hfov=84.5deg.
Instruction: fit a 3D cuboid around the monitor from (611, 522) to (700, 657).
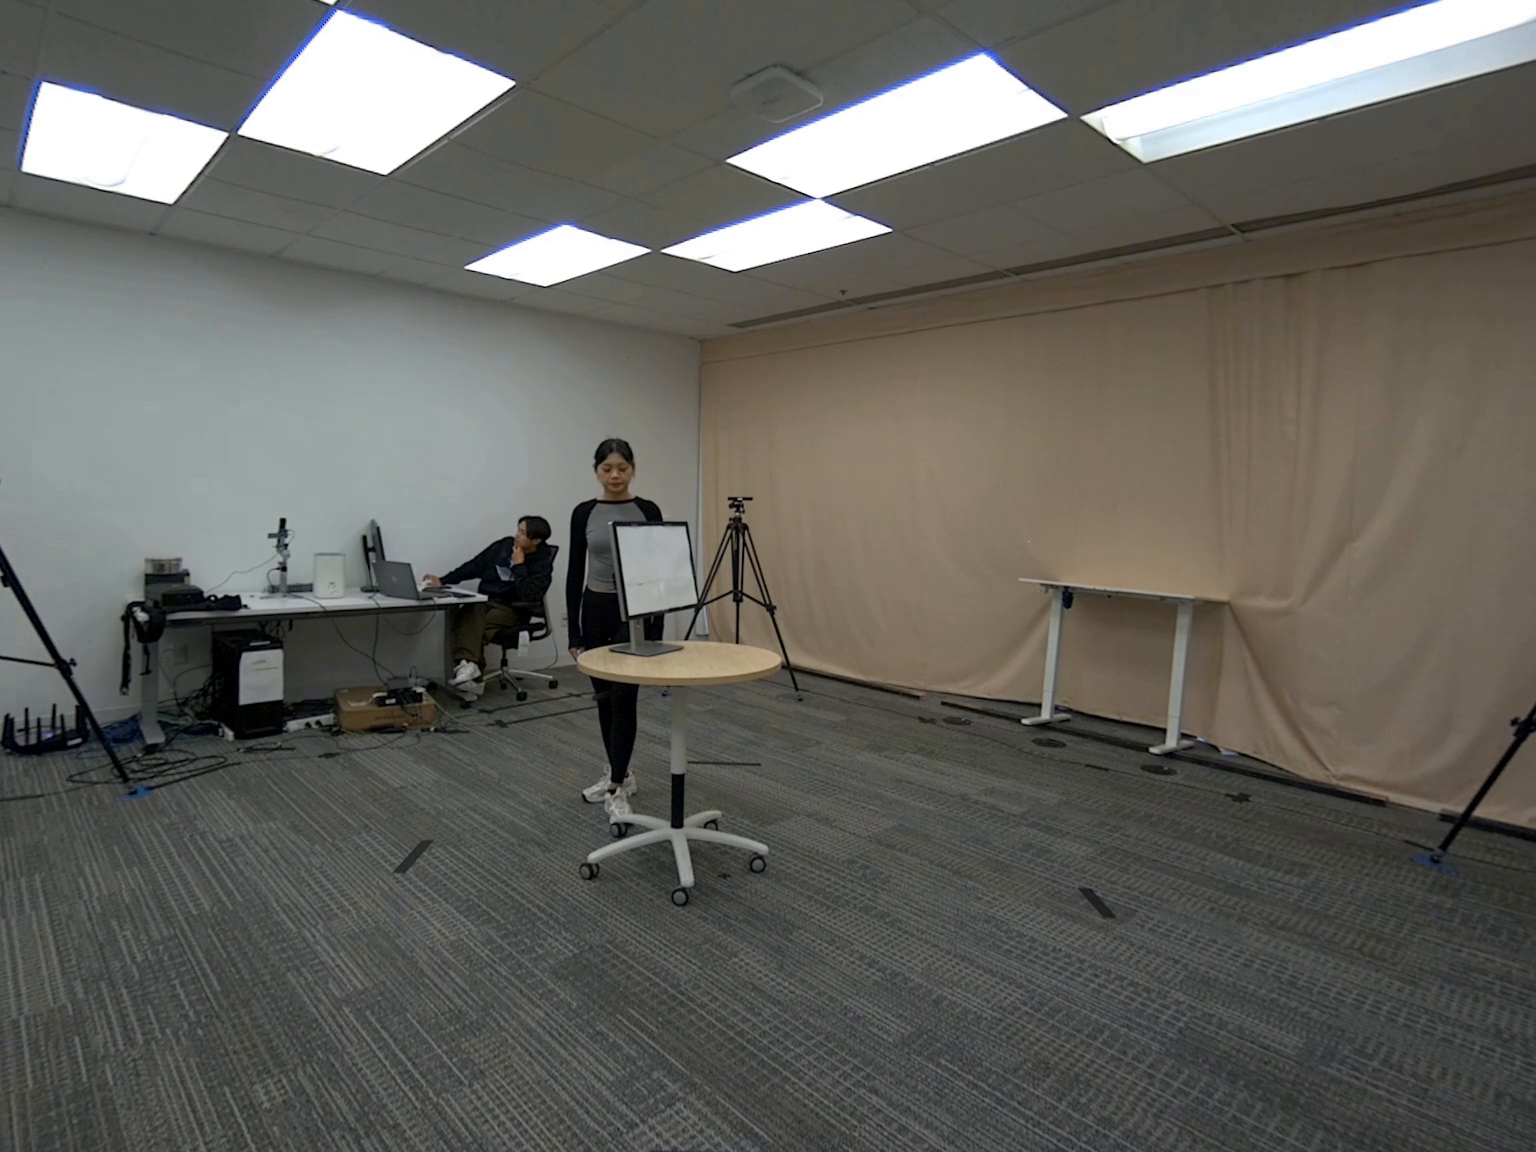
[{"bbox_3d":[-0.480,0.049,3.312,0.191,0.521,0.530,5,4,23],"label":"monitor"}]
